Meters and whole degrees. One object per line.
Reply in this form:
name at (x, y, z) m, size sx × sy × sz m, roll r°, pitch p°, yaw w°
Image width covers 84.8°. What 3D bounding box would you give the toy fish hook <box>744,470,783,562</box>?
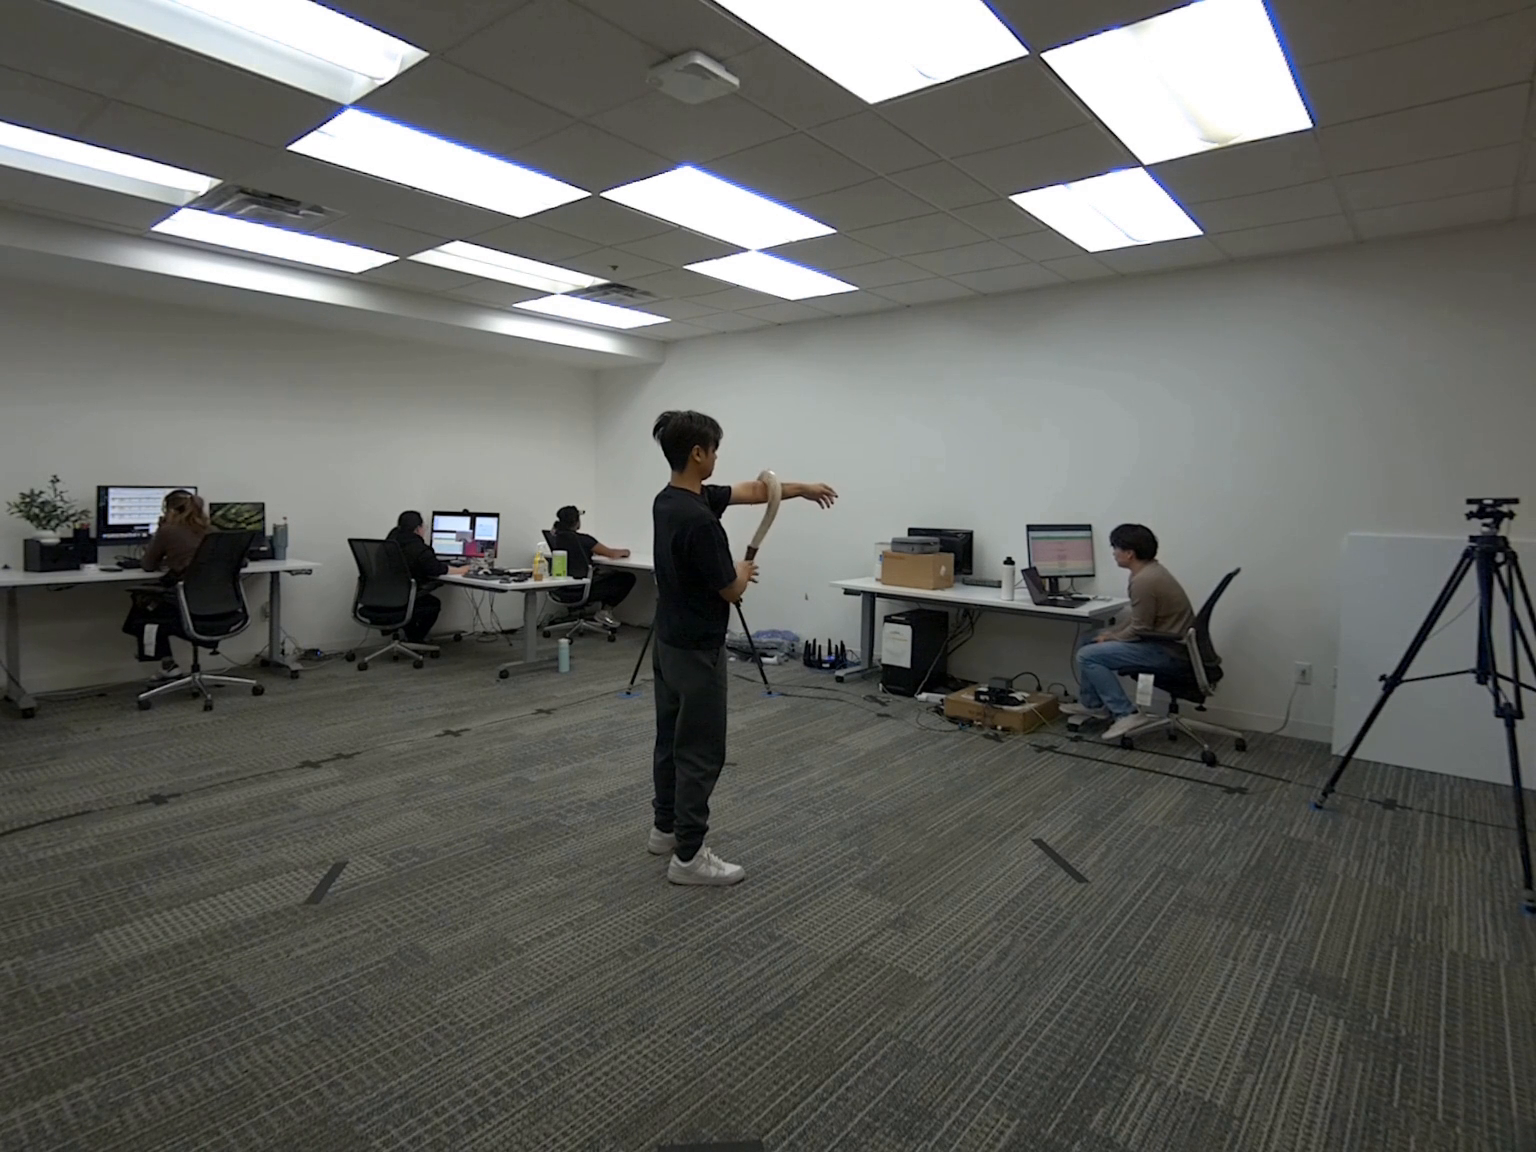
toy fish hook at (-0.062, -0.195, 3.388) m, size 0.047 × 0.500 × 0.233 m, roll 8°, pitch 29°, yaw -24°
